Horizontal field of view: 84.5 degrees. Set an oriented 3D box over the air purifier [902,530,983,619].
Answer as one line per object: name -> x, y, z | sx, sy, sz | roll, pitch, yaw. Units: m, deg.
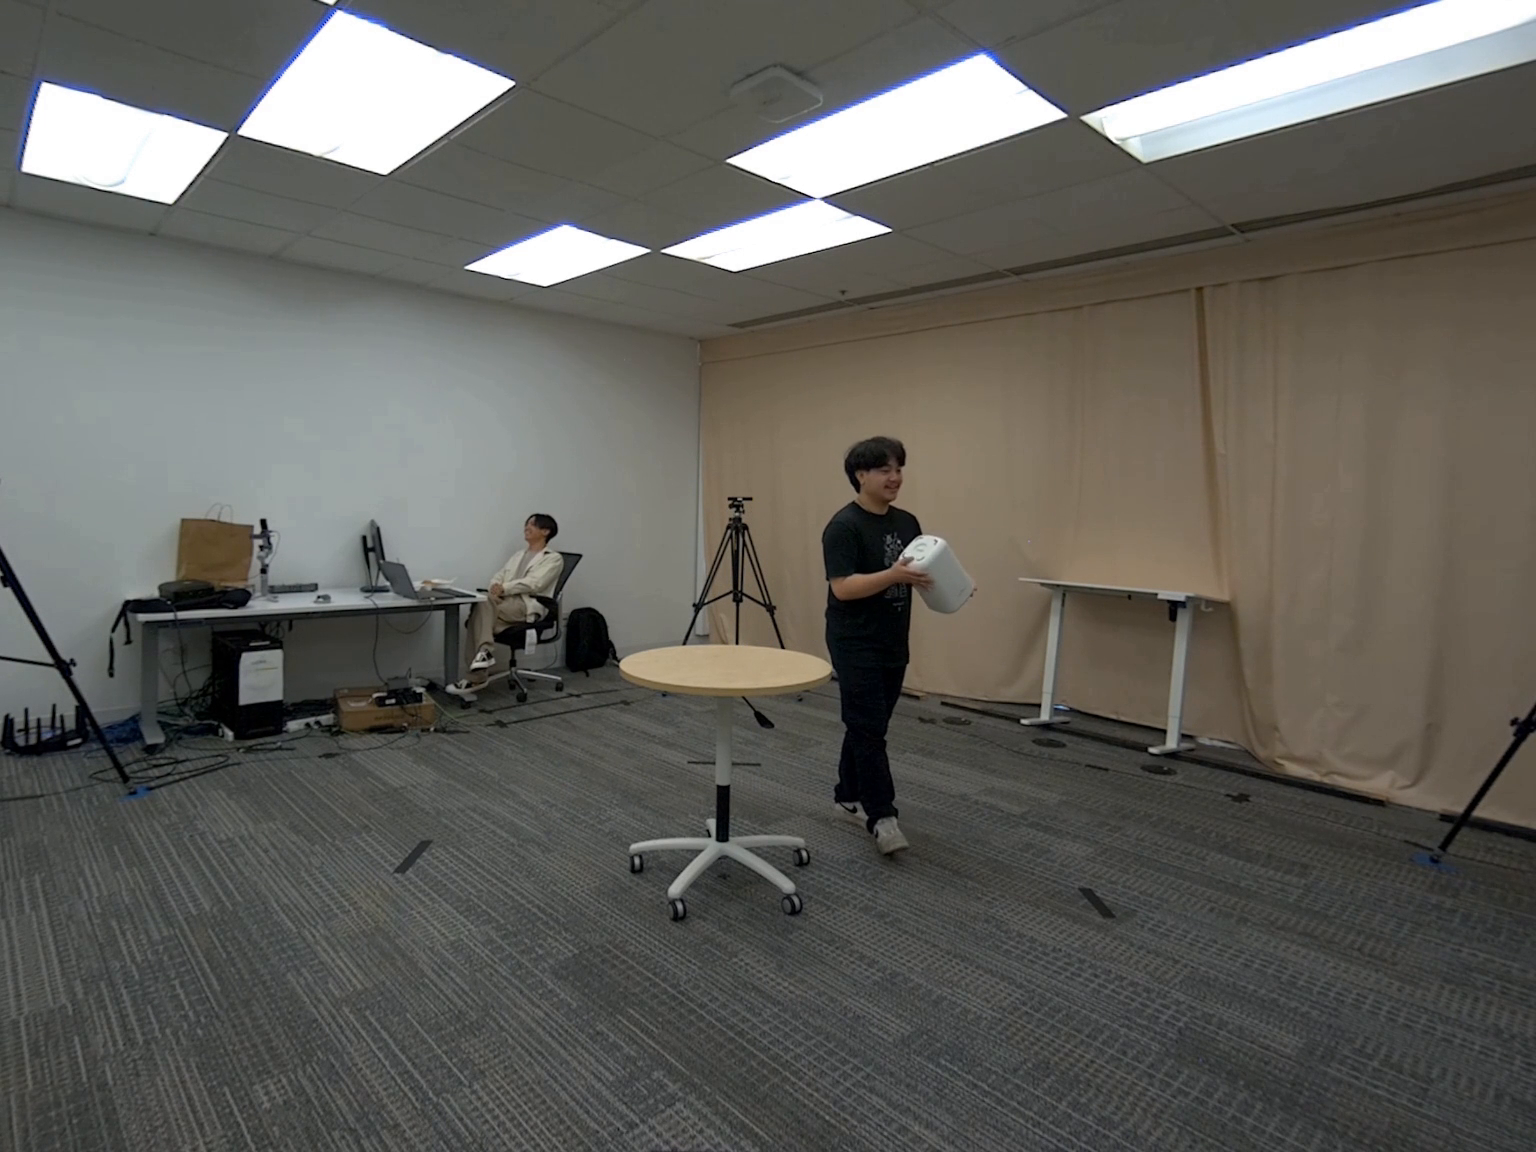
air purifier -> 0.646, -0.009, 3.232 | 0.171, 0.259, 0.176 | -45, 27, -15
